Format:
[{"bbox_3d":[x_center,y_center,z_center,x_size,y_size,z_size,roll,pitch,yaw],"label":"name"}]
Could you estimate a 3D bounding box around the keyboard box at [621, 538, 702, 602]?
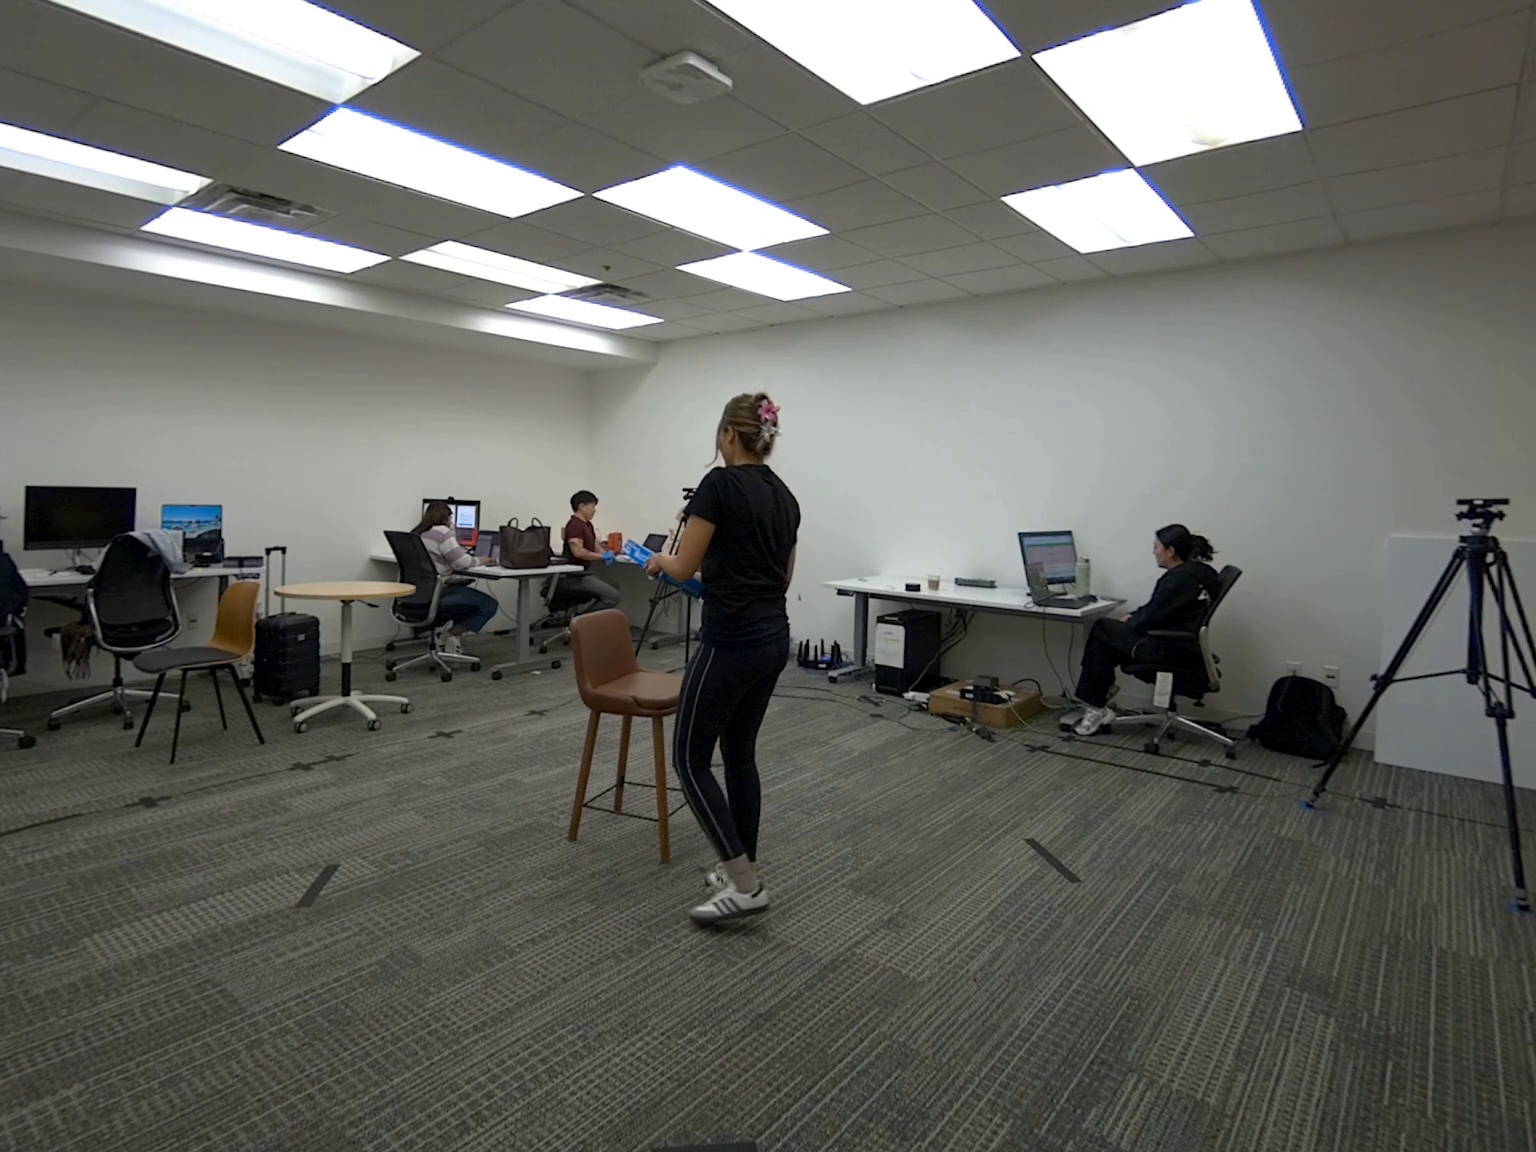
[{"bbox_3d":[-0.401,-0.029,3.158,0.170,0.059,0.452,31,-1,-29],"label":"keyboard box"}]
